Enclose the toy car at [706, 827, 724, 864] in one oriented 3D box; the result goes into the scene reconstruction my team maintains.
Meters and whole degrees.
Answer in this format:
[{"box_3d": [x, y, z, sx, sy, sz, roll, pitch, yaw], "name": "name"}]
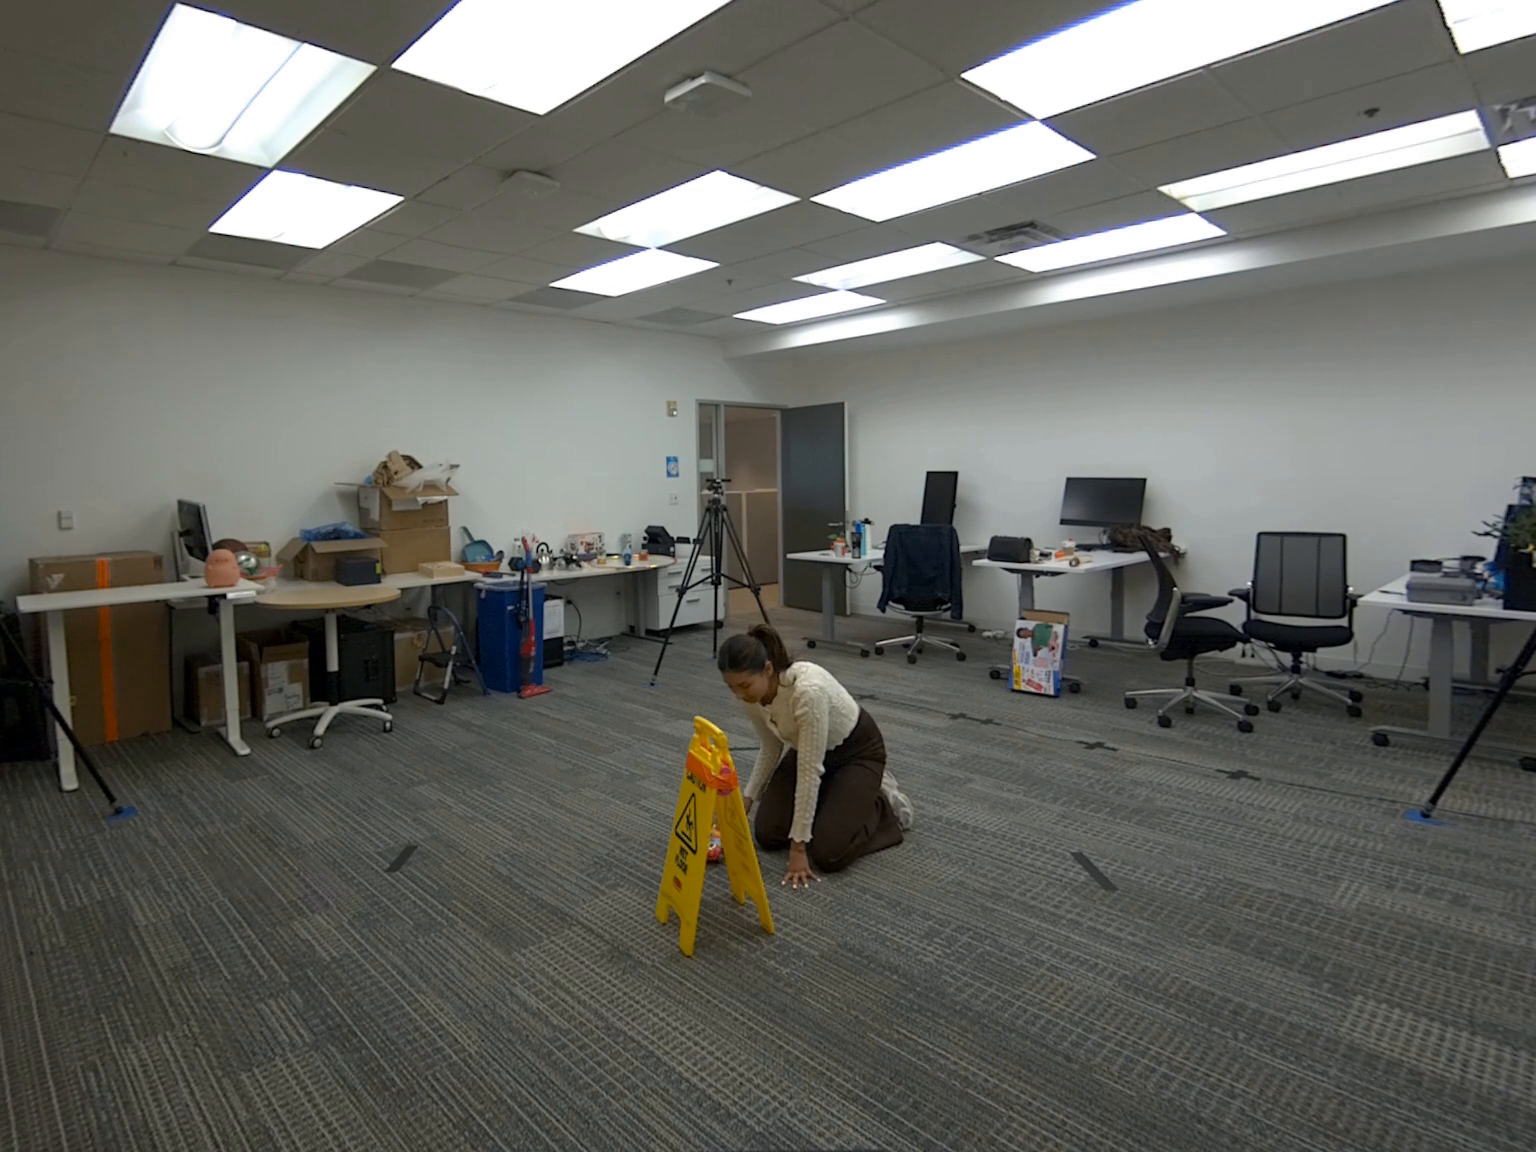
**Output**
[{"box_3d": [-0.187, 1.000, 3.218, 0.133, 0.082, 0.253, -4, 16, 21], "name": "toy car"}]
